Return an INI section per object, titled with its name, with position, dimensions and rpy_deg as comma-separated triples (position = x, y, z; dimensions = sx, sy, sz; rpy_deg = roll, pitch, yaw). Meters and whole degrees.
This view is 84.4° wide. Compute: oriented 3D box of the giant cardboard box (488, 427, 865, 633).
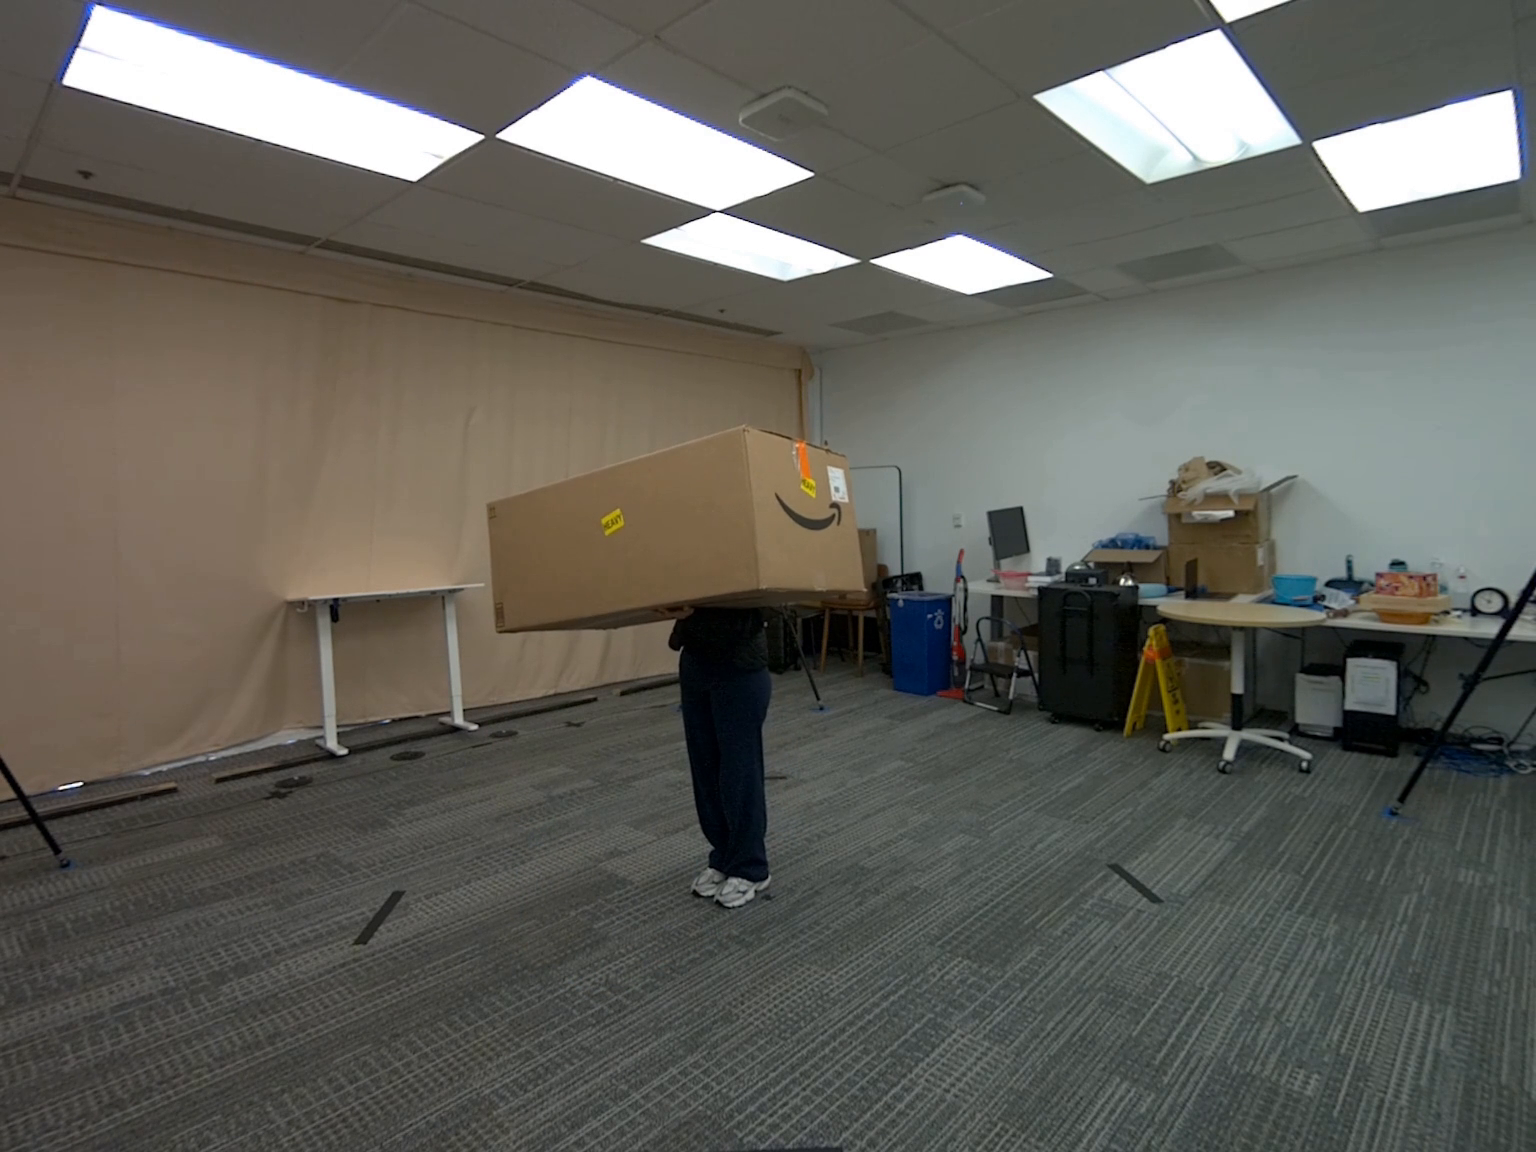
[giant cardboard box]
position = -0.293, -0.093, 2.628
dimensions = 1.053, 0.428, 0.559
rpy_deg = -10, -7, 33
